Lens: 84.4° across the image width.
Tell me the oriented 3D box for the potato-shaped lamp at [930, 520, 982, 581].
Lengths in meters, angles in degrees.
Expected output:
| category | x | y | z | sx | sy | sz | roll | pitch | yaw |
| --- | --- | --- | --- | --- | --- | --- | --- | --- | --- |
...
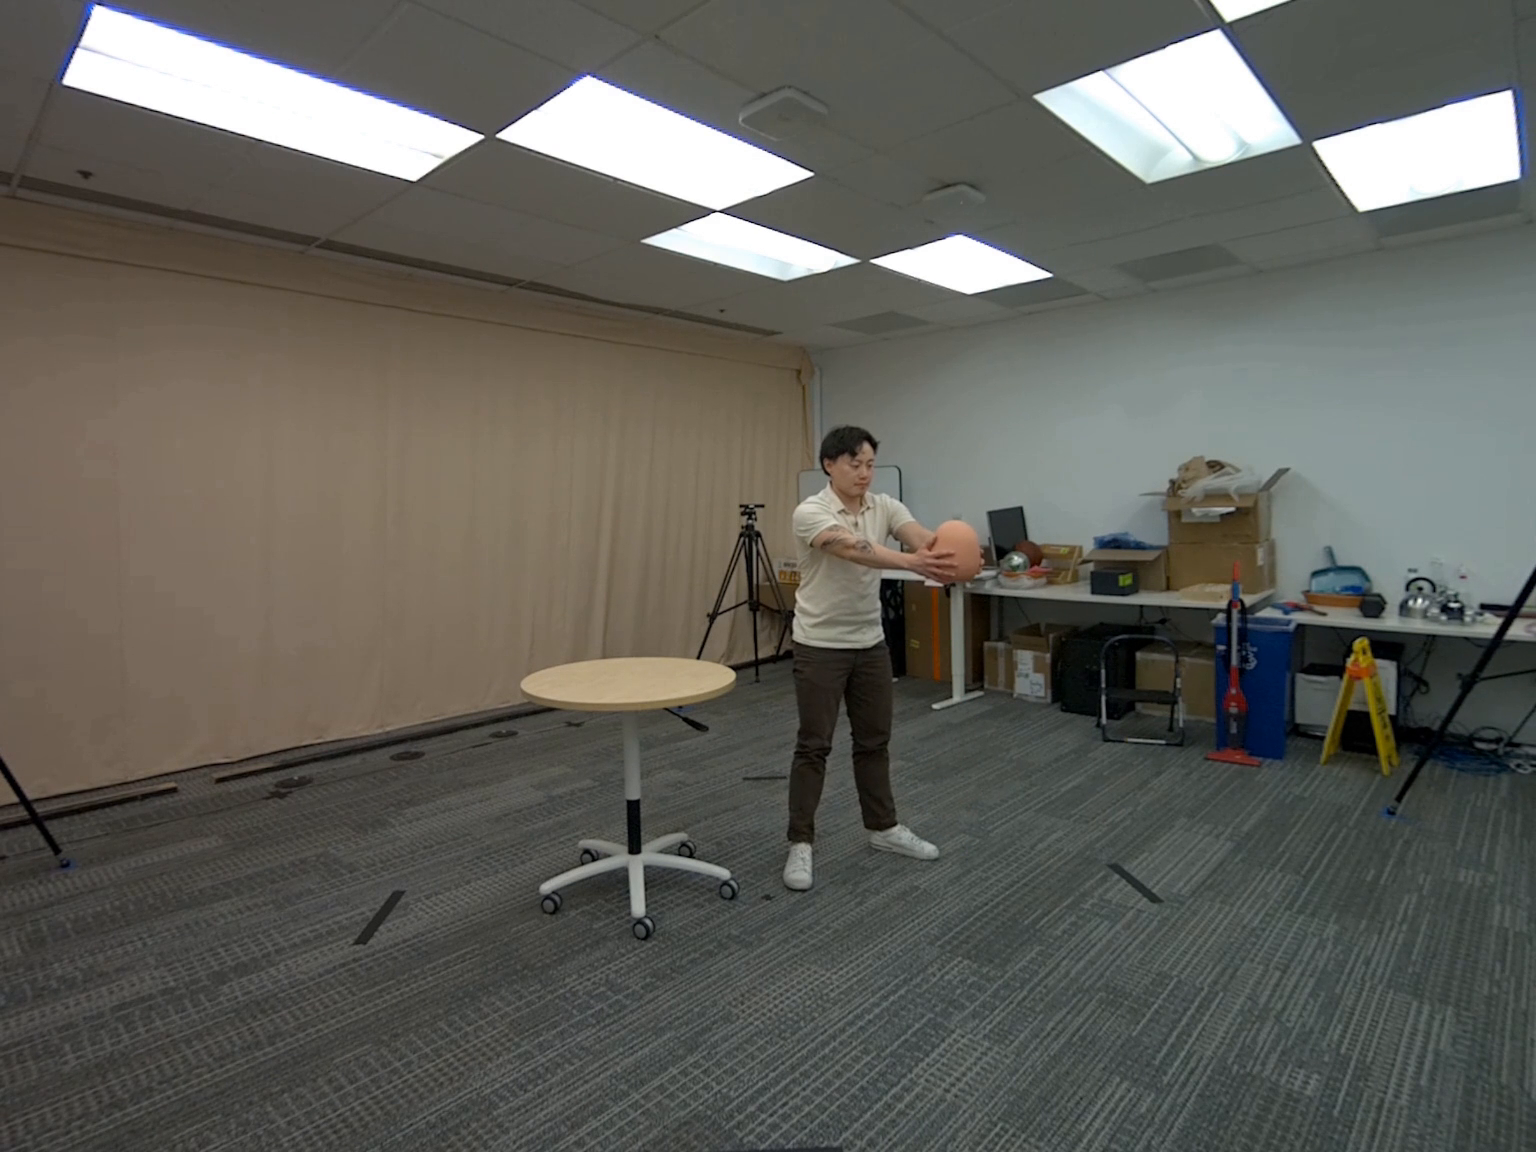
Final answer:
| category | x | y | z | sx | sy | sz | roll | pitch | yaw |
| --- | --- | --- | --- | --- | --- | --- | --- | --- | --- |
| potato-shaped lamp | 0.601 | -0.082 | 2.718 | 0.161 | 0.197 | 0.176 | -3 | 6 | -25 |
